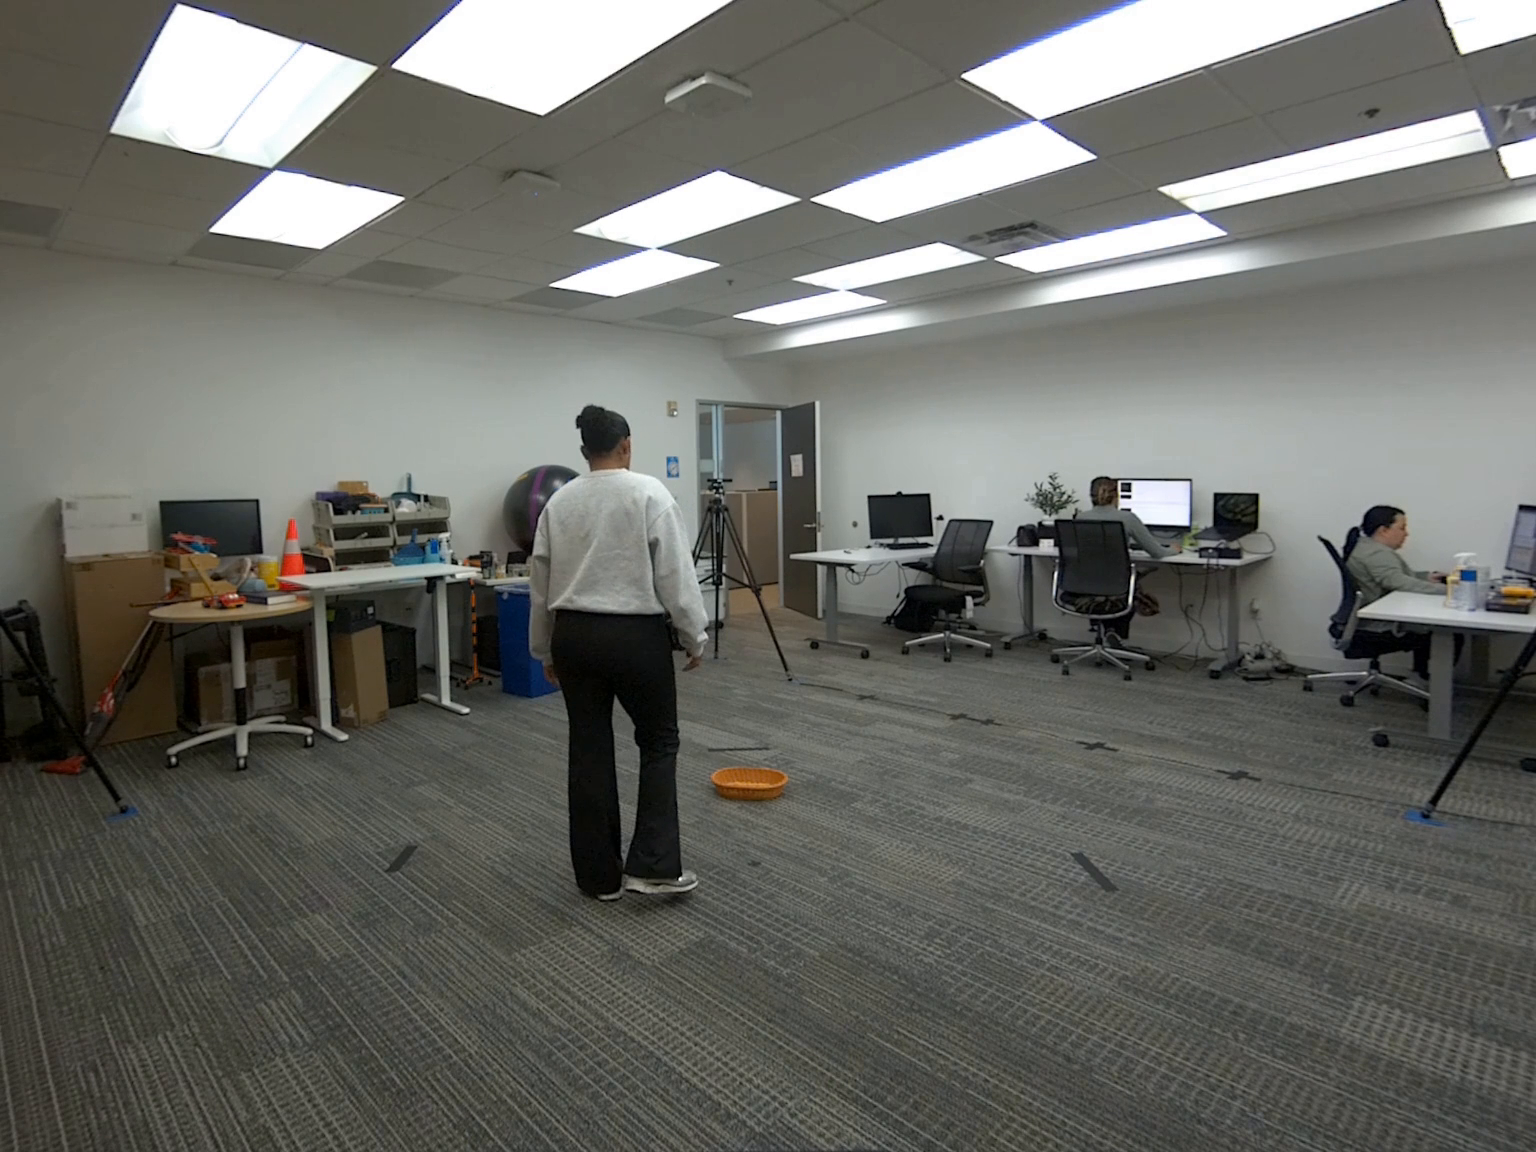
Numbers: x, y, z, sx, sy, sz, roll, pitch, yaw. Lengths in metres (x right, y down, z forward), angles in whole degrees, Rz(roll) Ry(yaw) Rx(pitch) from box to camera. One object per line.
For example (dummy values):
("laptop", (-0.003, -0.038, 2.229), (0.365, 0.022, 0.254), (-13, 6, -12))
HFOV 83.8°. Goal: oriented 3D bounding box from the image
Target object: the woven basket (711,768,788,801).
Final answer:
("woven basket", (-0.082, 0.928, 3.813), (0.356, 0.073, 0.250), (1, 7, 15))
